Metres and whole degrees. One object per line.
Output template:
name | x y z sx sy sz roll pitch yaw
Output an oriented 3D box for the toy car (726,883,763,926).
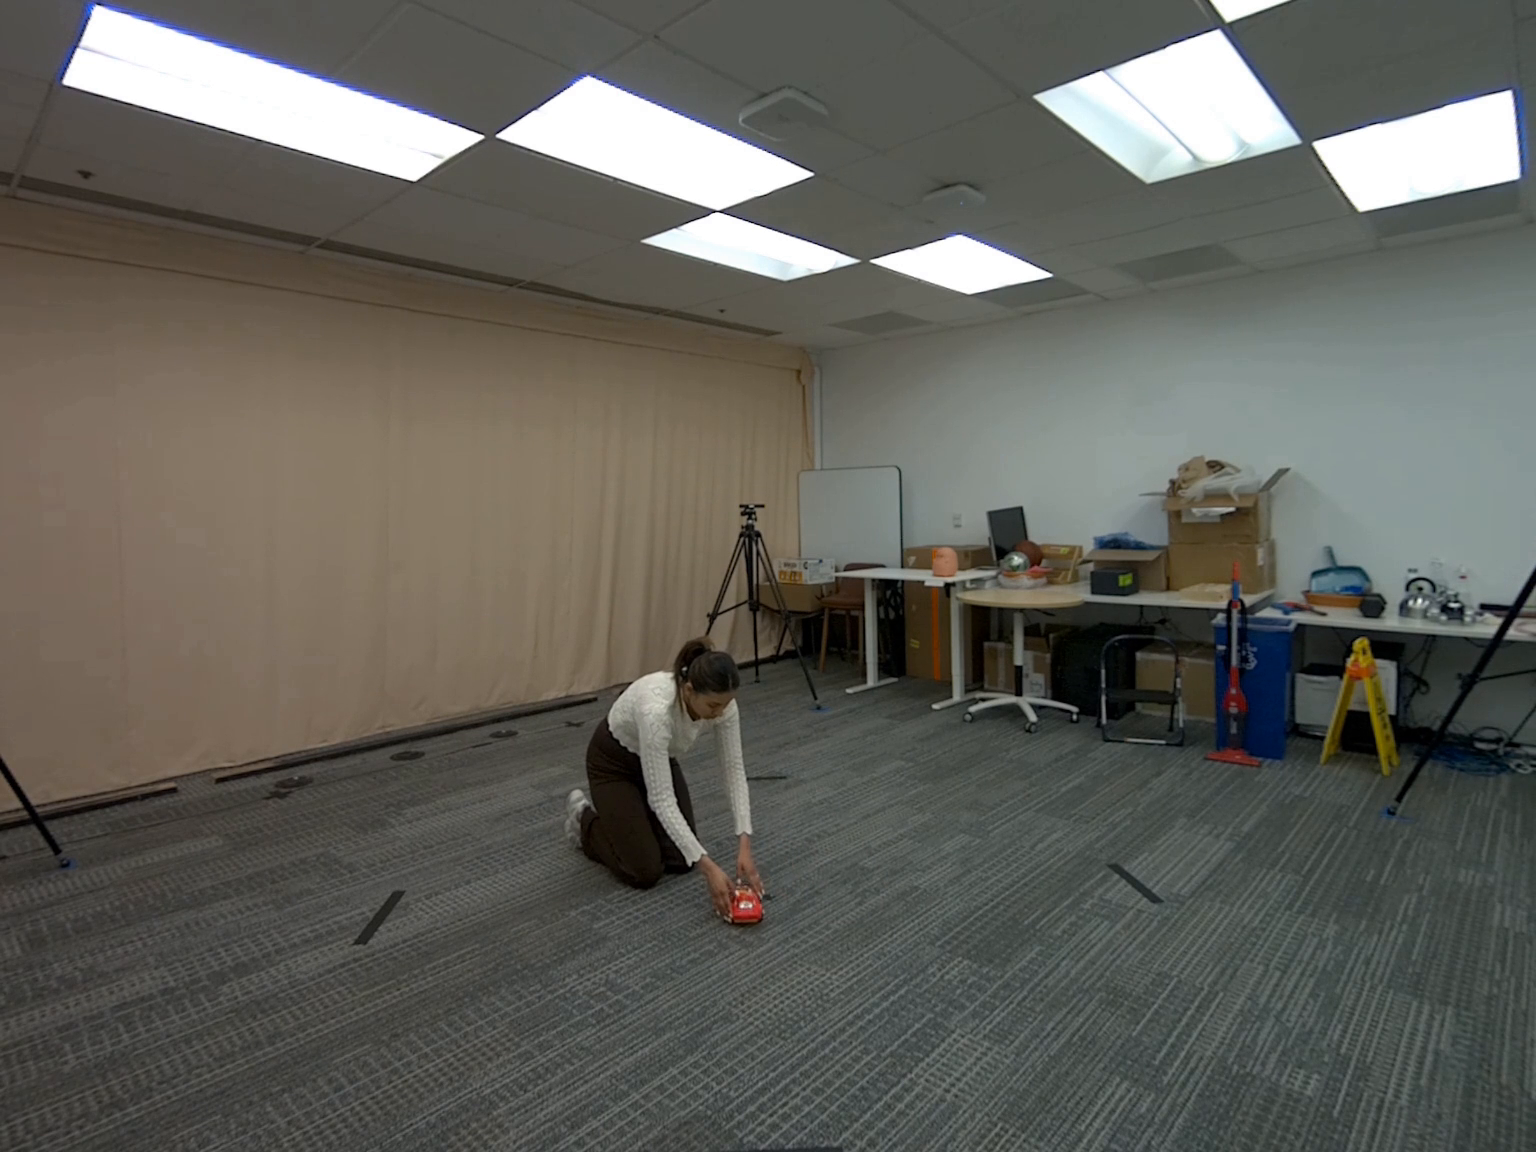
toy car | -0.084 1.117 2.861 0.130 0.083 0.255 1 -6 -6
